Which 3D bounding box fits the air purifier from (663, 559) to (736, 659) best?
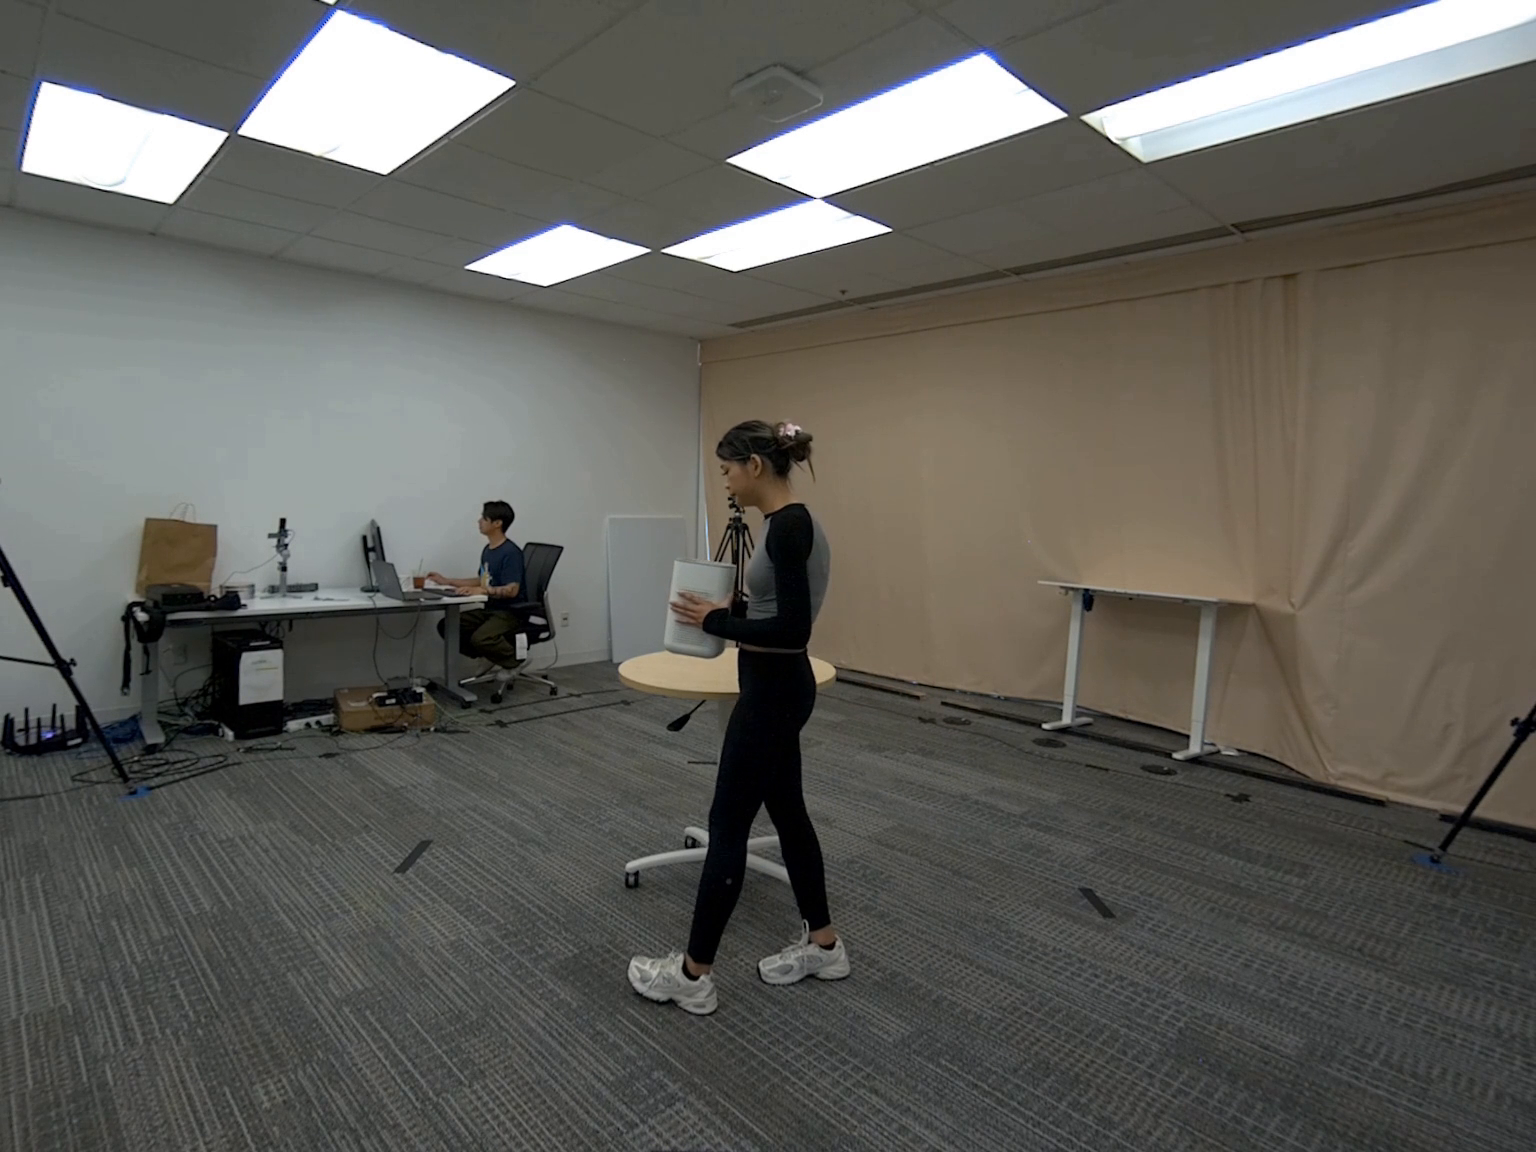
[{"bbox_3d":[-0.190,0.093,2.405,0.172,0.265,0.171,8,3,4],"label":"air purifier"}]
